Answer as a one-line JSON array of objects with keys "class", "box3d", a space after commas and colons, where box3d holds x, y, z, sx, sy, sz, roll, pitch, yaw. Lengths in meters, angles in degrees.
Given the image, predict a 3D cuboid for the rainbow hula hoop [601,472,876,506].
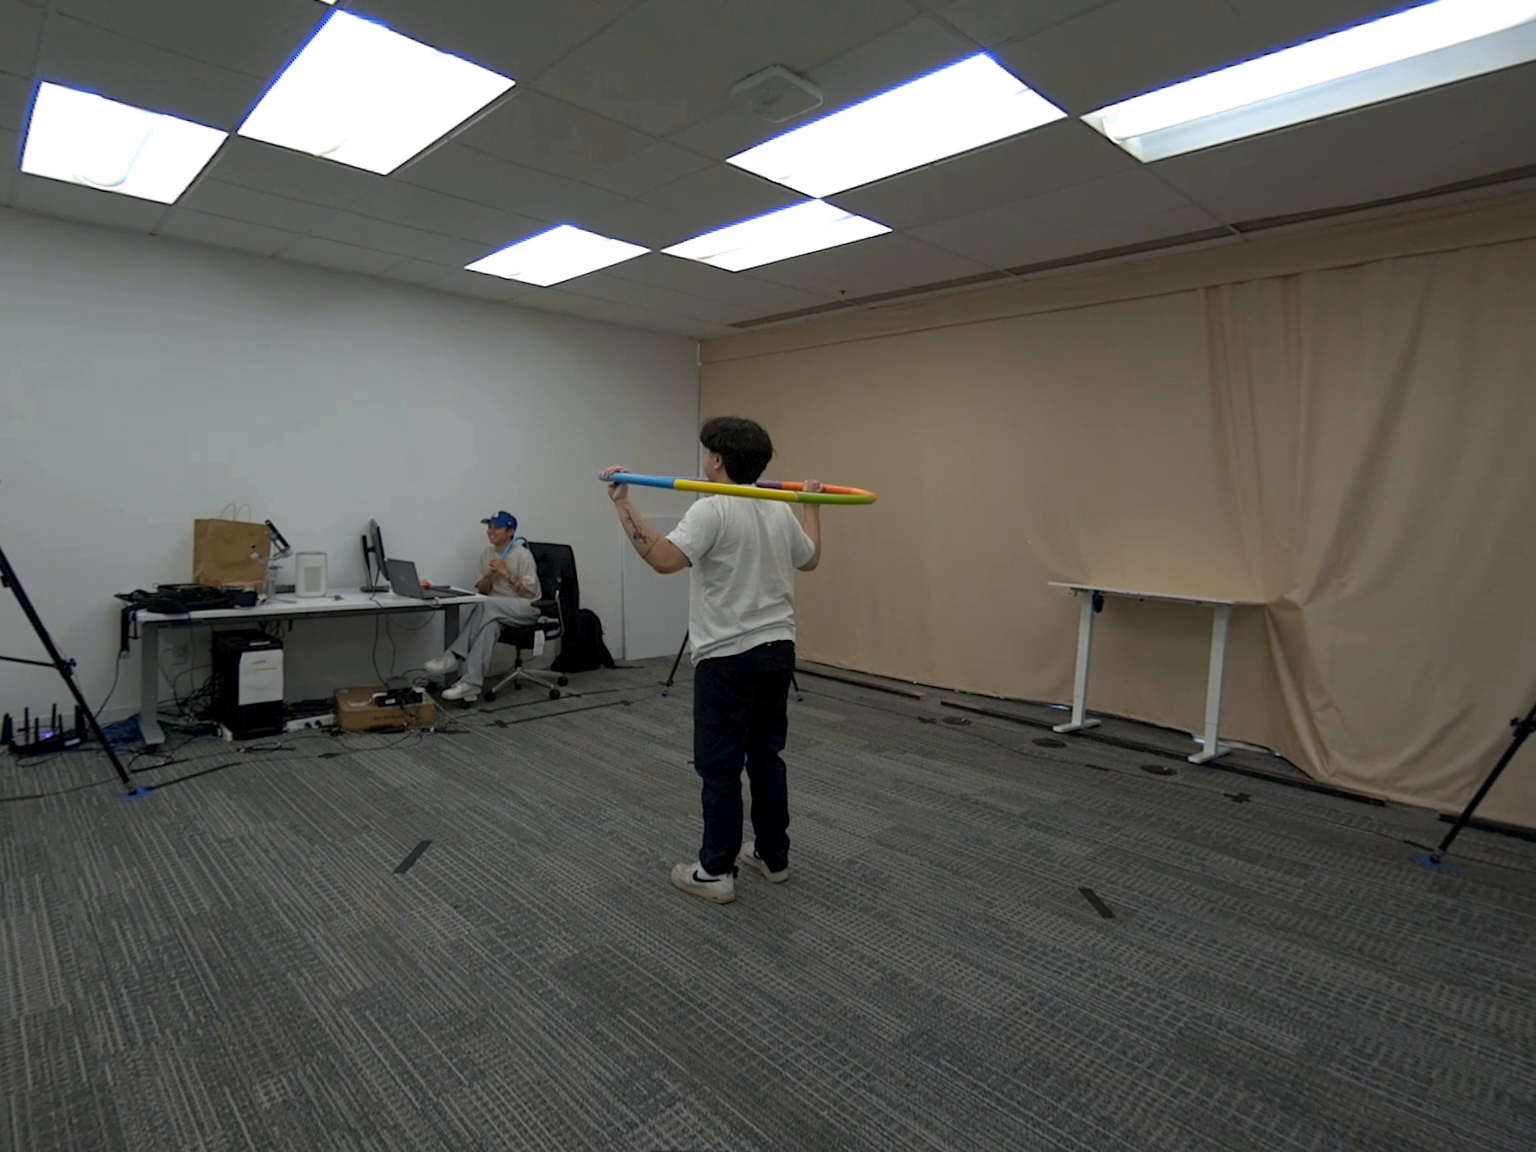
[{"class": "rainbow hula hoop", "box3d": [-0.115, -0.322, 3.005, 0.984, 0.051, 0.991, 4, 8, -2]}]
